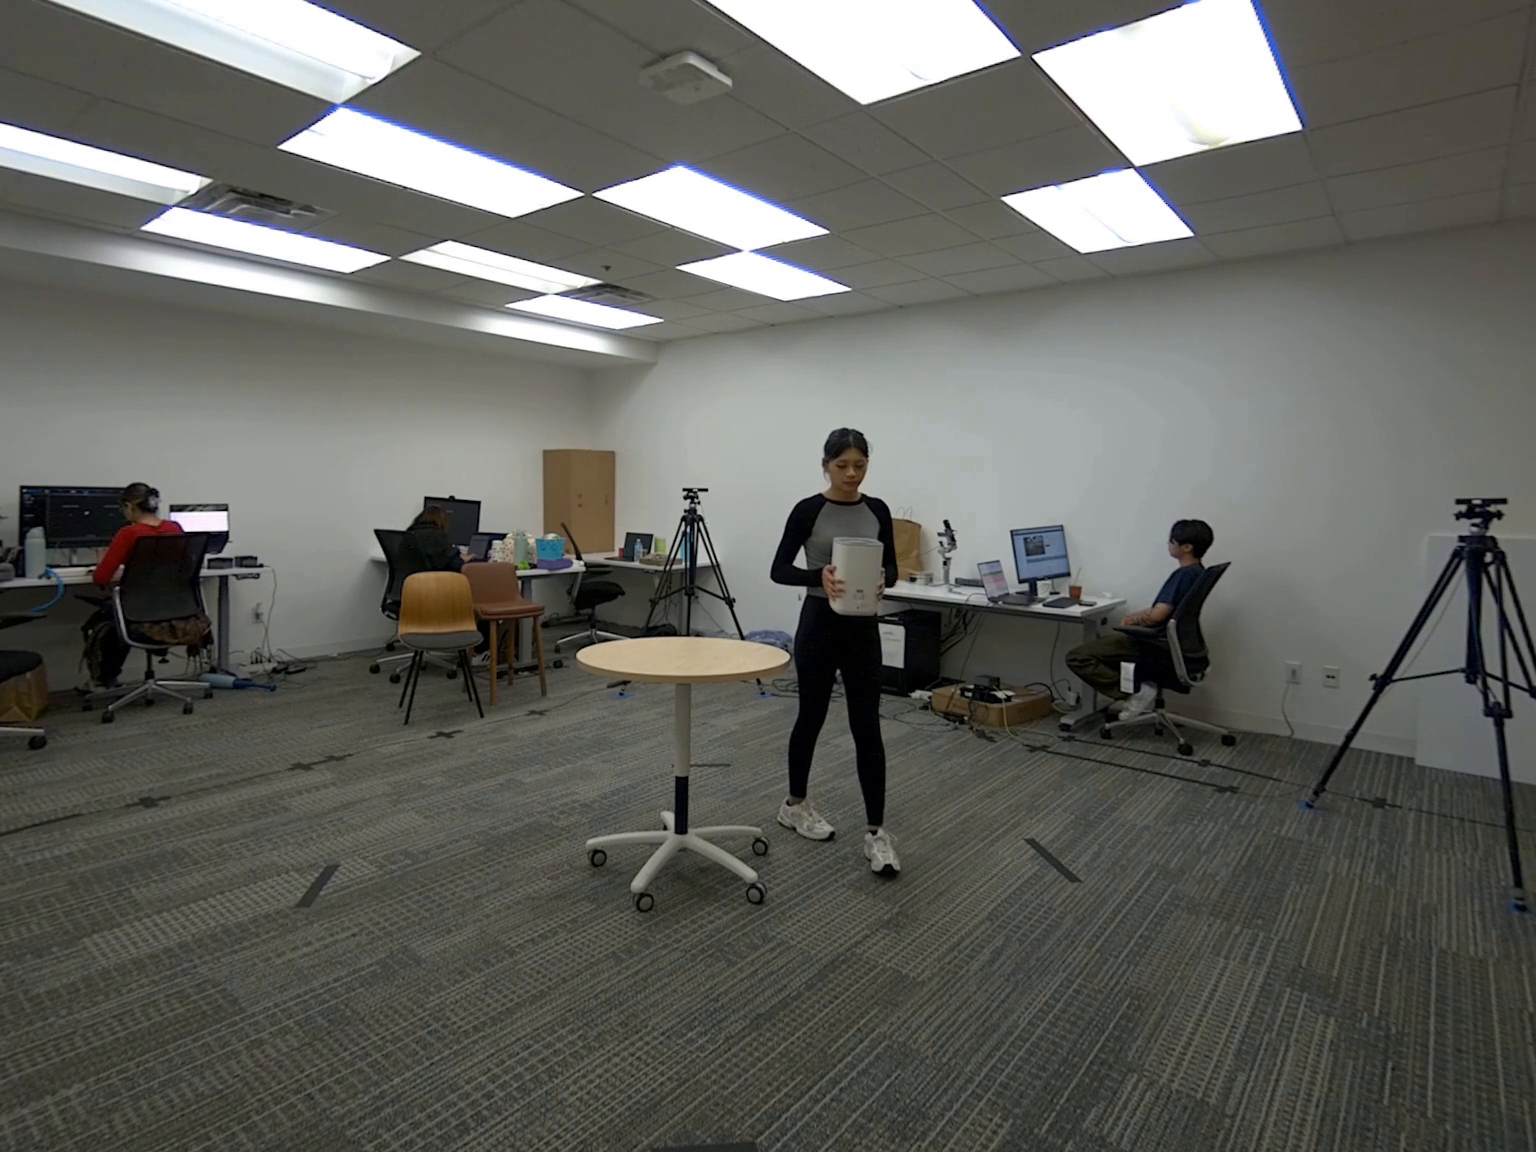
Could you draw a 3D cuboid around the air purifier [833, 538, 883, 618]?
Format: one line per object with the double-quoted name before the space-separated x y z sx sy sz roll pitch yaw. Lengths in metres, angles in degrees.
"air purifier" 0.313 -0.002 3.129 0.169 0.264 0.175 4 8 -11
